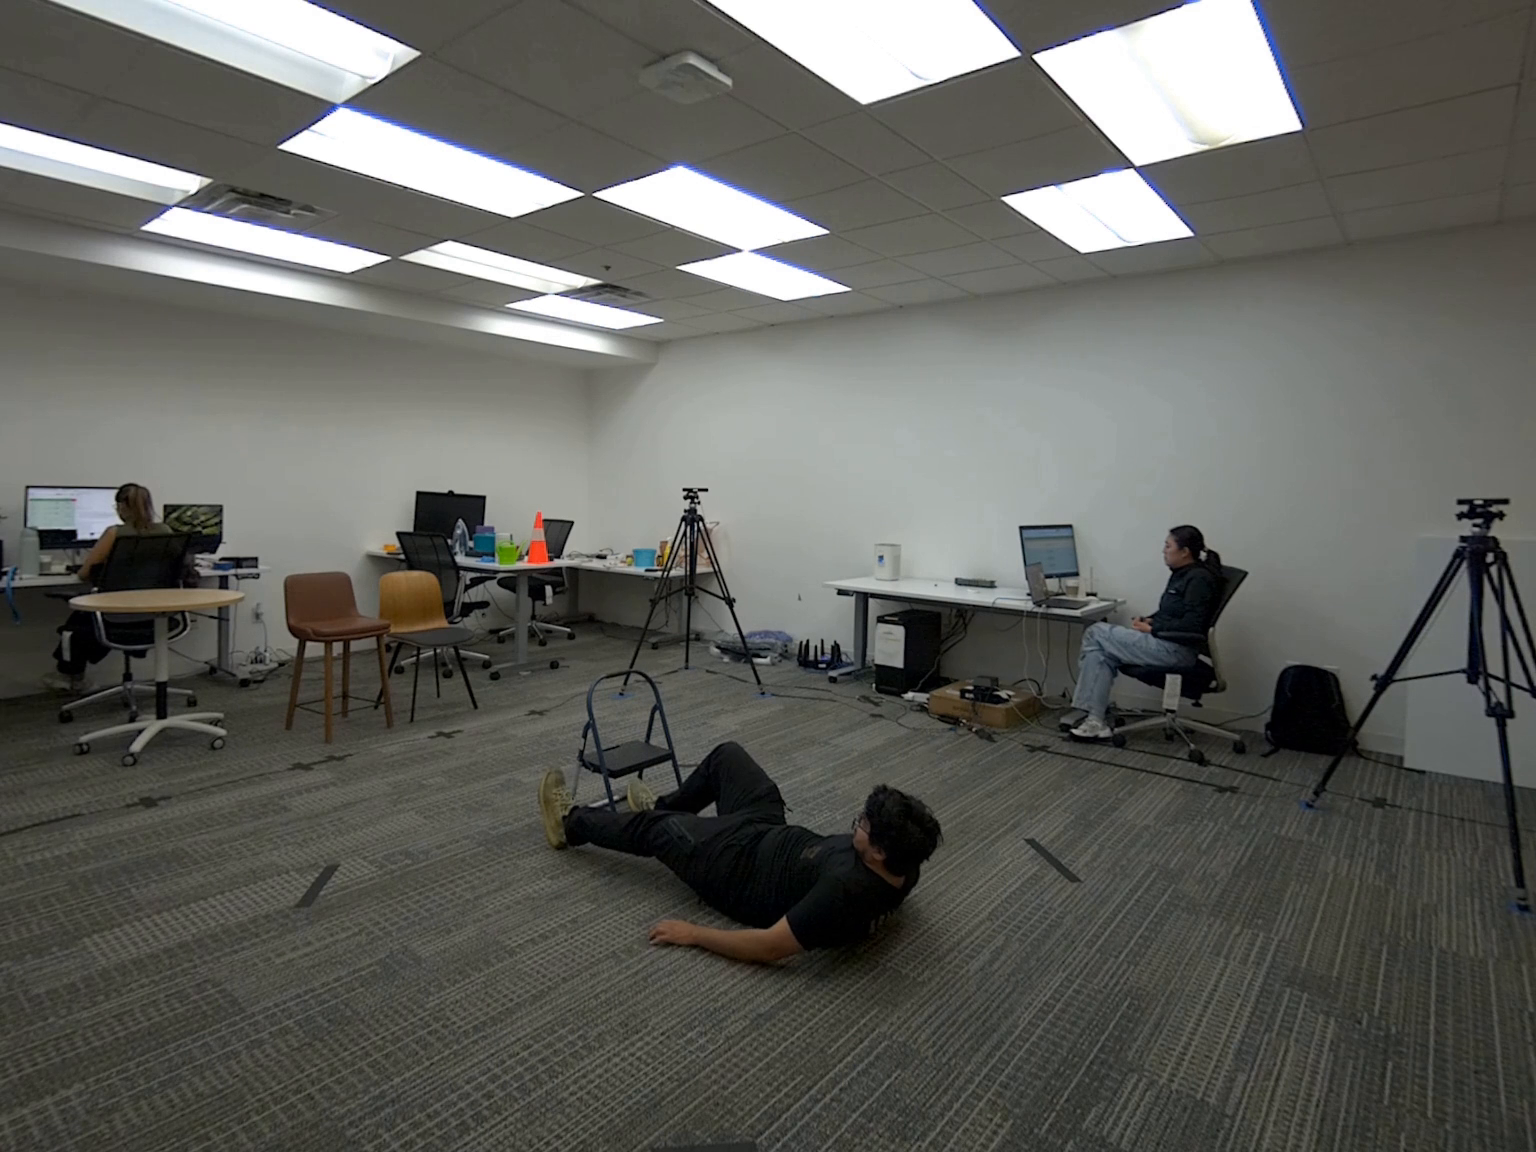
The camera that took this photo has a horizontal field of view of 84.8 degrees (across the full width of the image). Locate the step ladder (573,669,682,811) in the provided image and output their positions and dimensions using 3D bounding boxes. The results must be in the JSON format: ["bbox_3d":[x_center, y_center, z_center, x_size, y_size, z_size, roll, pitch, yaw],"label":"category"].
[{"bbox_3d":[-0.596,0.712,3.600,0.361,0.605,0.418,3,3,38],"label":"step ladder"}]
